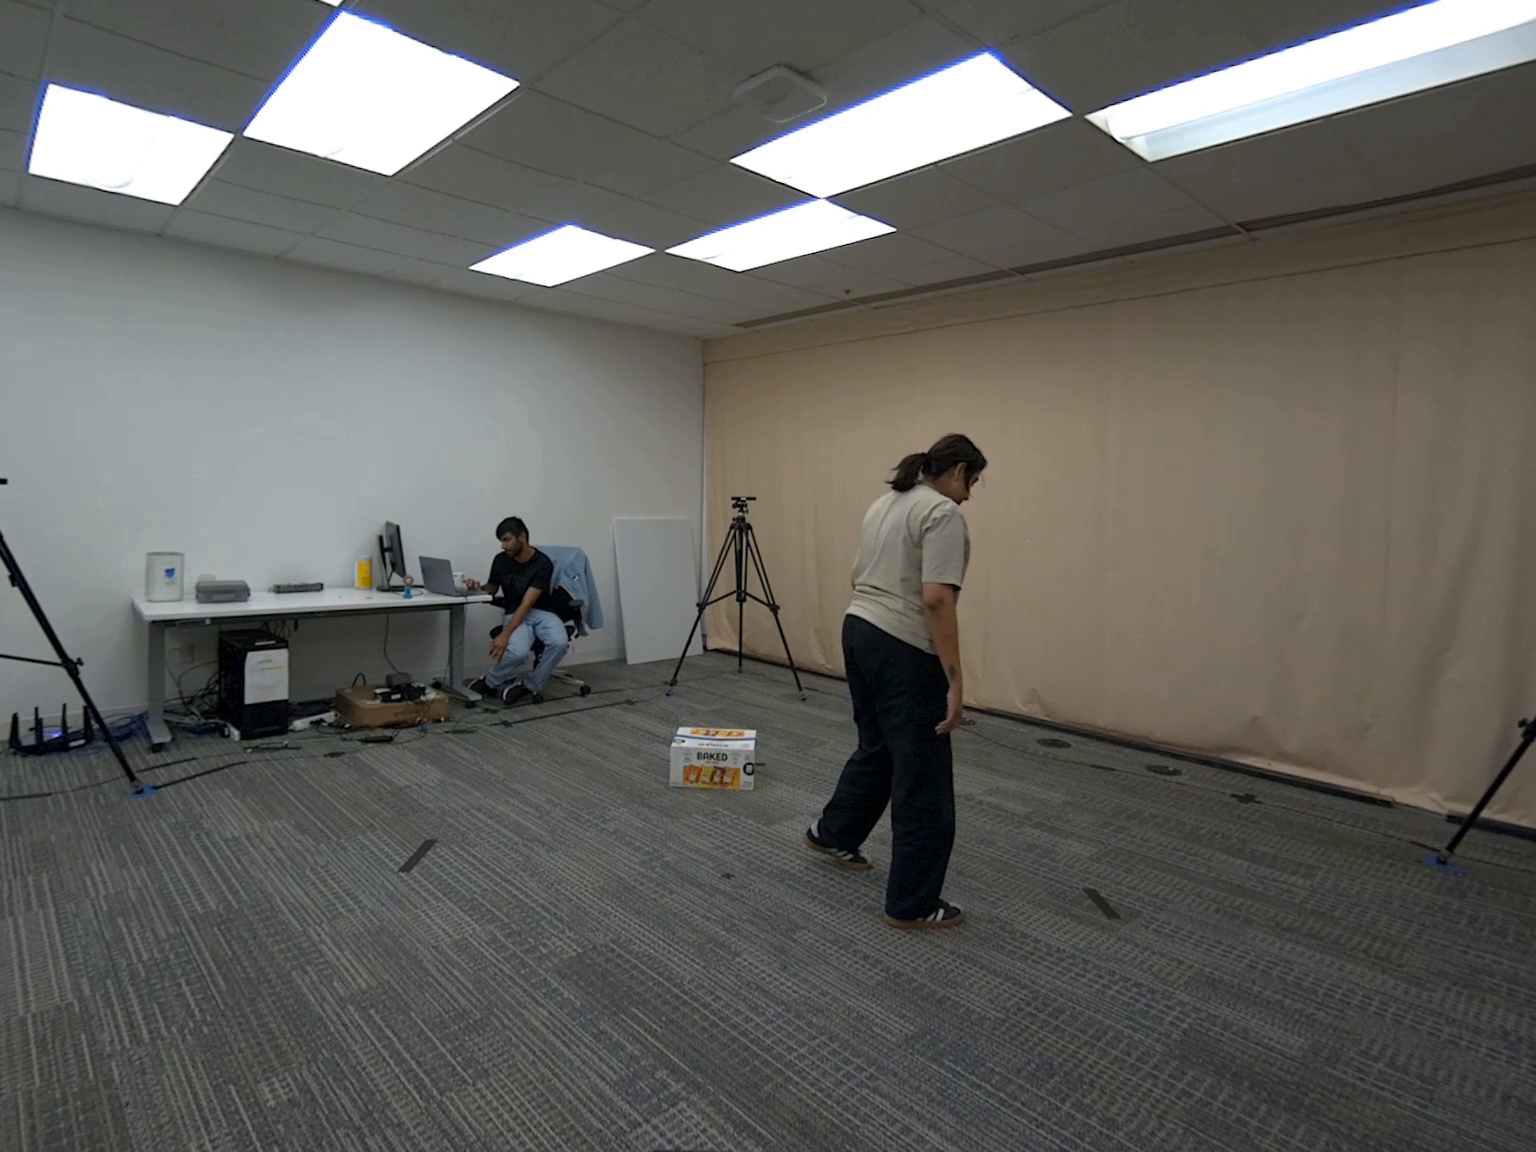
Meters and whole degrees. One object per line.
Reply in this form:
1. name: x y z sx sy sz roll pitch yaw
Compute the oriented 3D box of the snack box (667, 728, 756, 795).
1. snack box: -0.276 0.913 4.208 0.406 0.205 0.340 2 4 2
